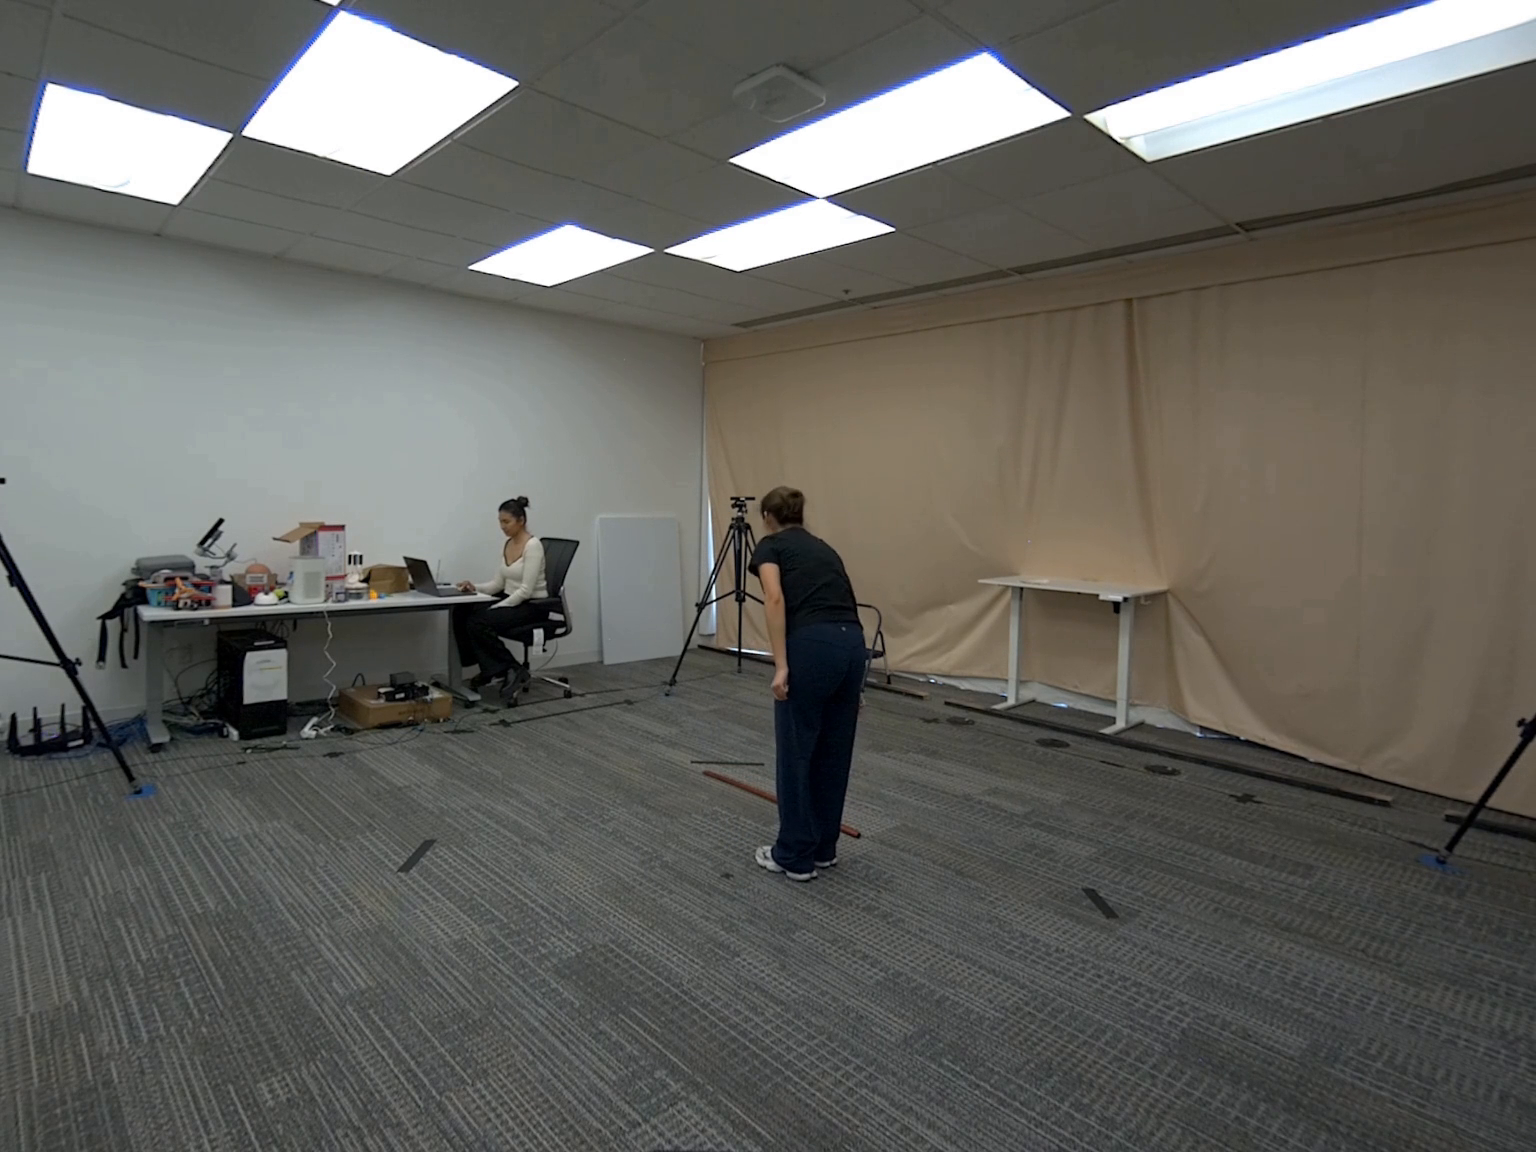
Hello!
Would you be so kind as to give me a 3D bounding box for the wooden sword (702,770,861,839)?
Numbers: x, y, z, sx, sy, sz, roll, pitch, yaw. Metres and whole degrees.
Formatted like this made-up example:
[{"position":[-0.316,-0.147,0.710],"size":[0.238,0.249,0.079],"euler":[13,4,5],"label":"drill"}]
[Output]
[{"position":[0.017,1.017,3.867],"size":[0.050,0.024,1.051],"euler":[18,-8,-42],"label":"wooden sword"}]
